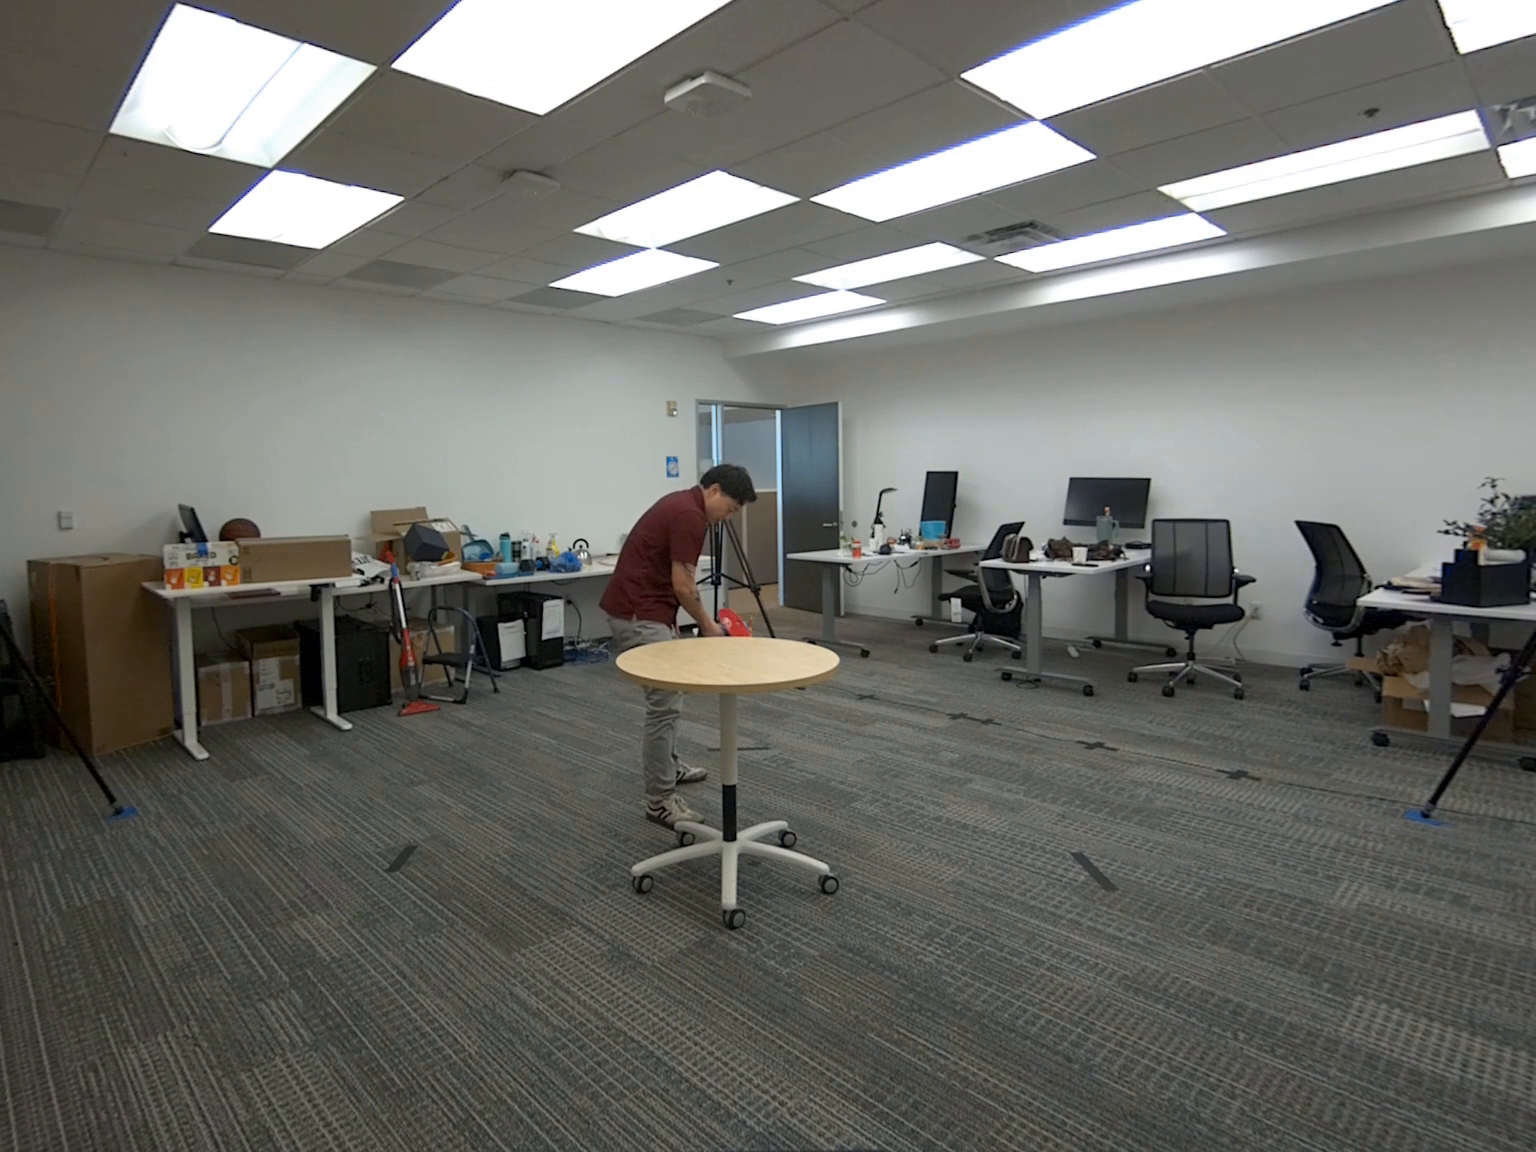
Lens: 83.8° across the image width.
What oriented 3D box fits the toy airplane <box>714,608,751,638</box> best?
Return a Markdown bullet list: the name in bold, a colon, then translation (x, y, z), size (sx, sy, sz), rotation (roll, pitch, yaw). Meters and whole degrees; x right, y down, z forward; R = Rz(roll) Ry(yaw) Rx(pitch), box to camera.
- **toy airplane**: translation (-0.193, 0.268, 3.775), size (0.260, 0.155, 0.253), rotation (35, 25, 29)
